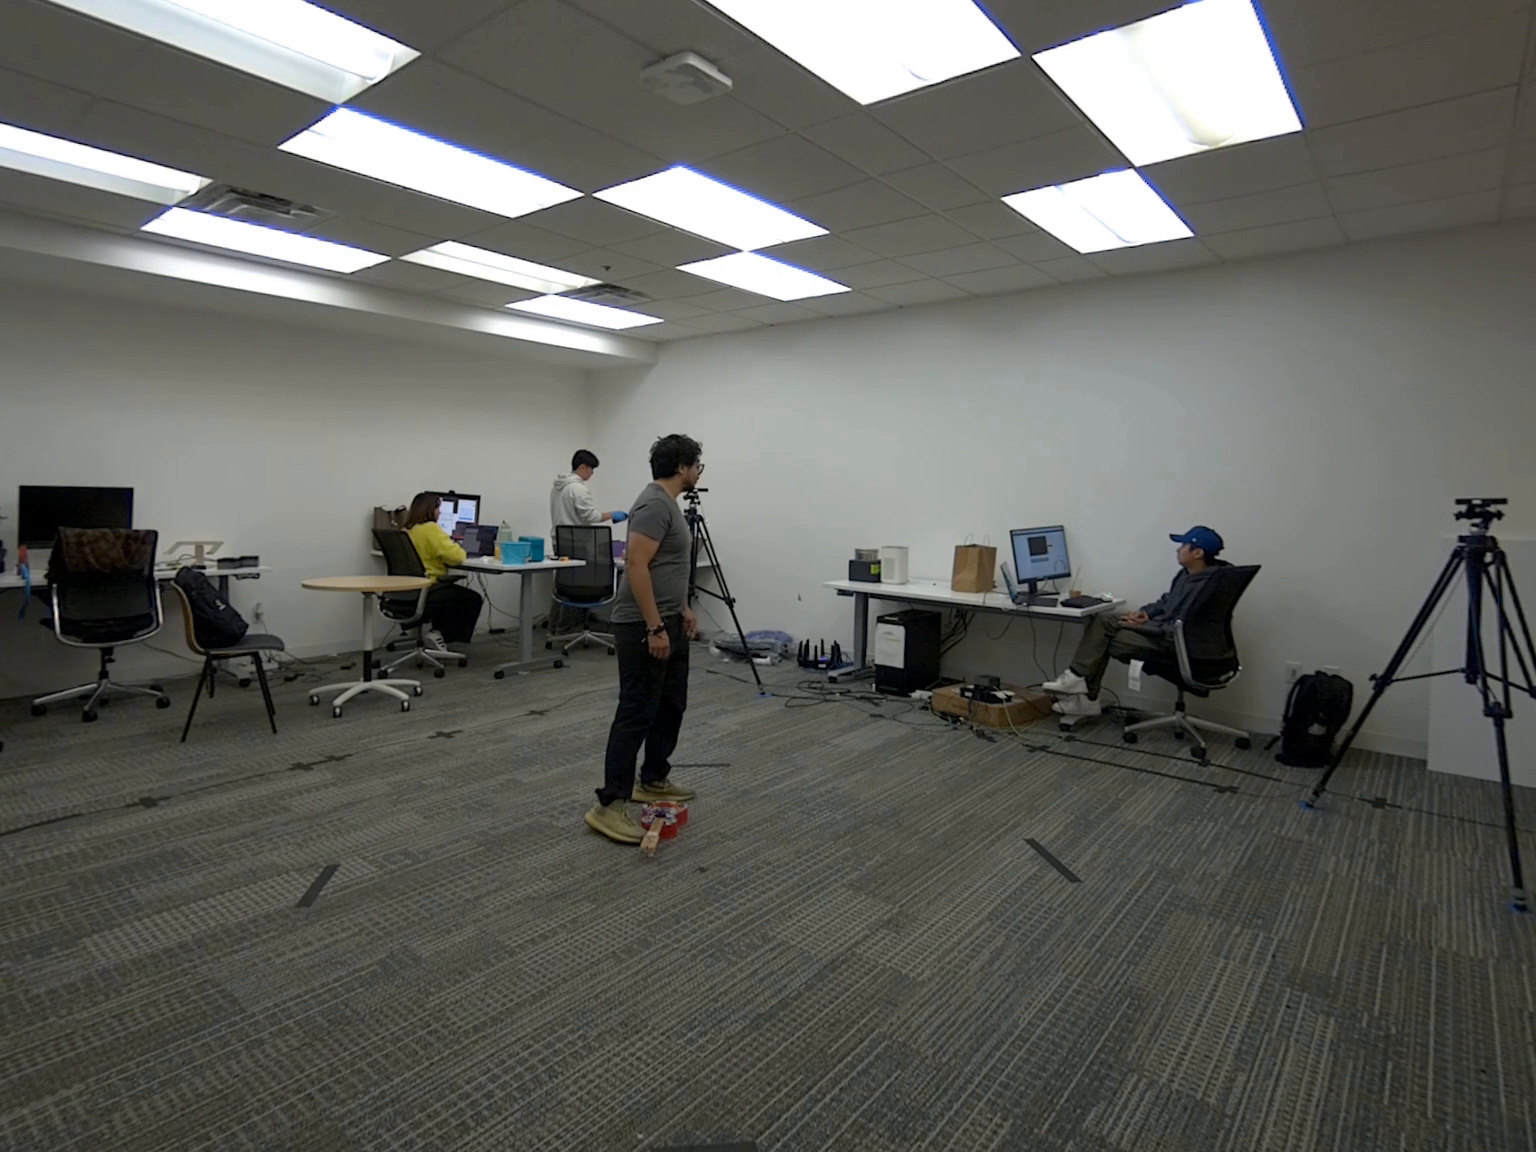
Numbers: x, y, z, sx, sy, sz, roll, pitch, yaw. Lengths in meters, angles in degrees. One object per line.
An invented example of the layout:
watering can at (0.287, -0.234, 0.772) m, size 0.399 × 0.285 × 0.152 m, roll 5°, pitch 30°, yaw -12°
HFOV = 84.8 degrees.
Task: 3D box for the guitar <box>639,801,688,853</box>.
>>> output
guitar at (-0.478, 1.005, 3.394) m, size 0.195 × 0.070 × 0.493 m, roll 2°, pitch 5°, yaw 11°
